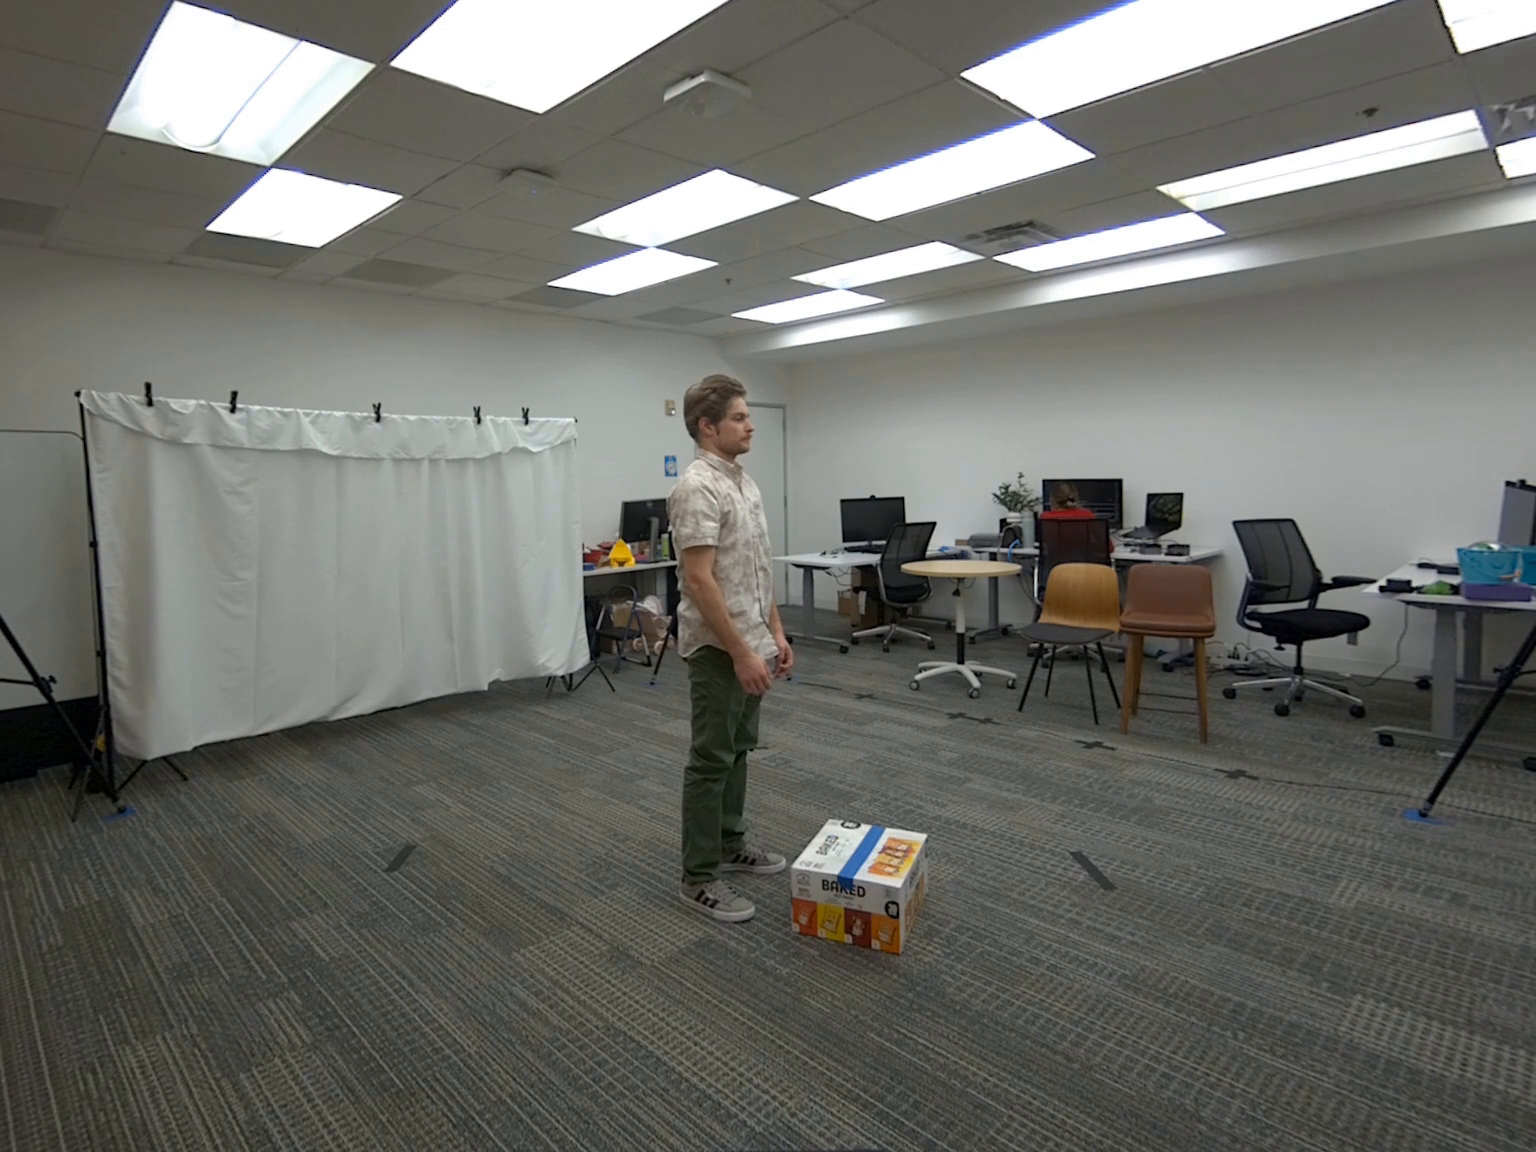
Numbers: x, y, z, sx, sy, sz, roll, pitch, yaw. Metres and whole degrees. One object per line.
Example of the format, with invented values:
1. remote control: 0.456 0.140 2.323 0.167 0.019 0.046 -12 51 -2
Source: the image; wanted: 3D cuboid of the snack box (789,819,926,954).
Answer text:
1. snack box: 0.311 0.980 2.731 0.348 0.205 0.398 2 7 23
